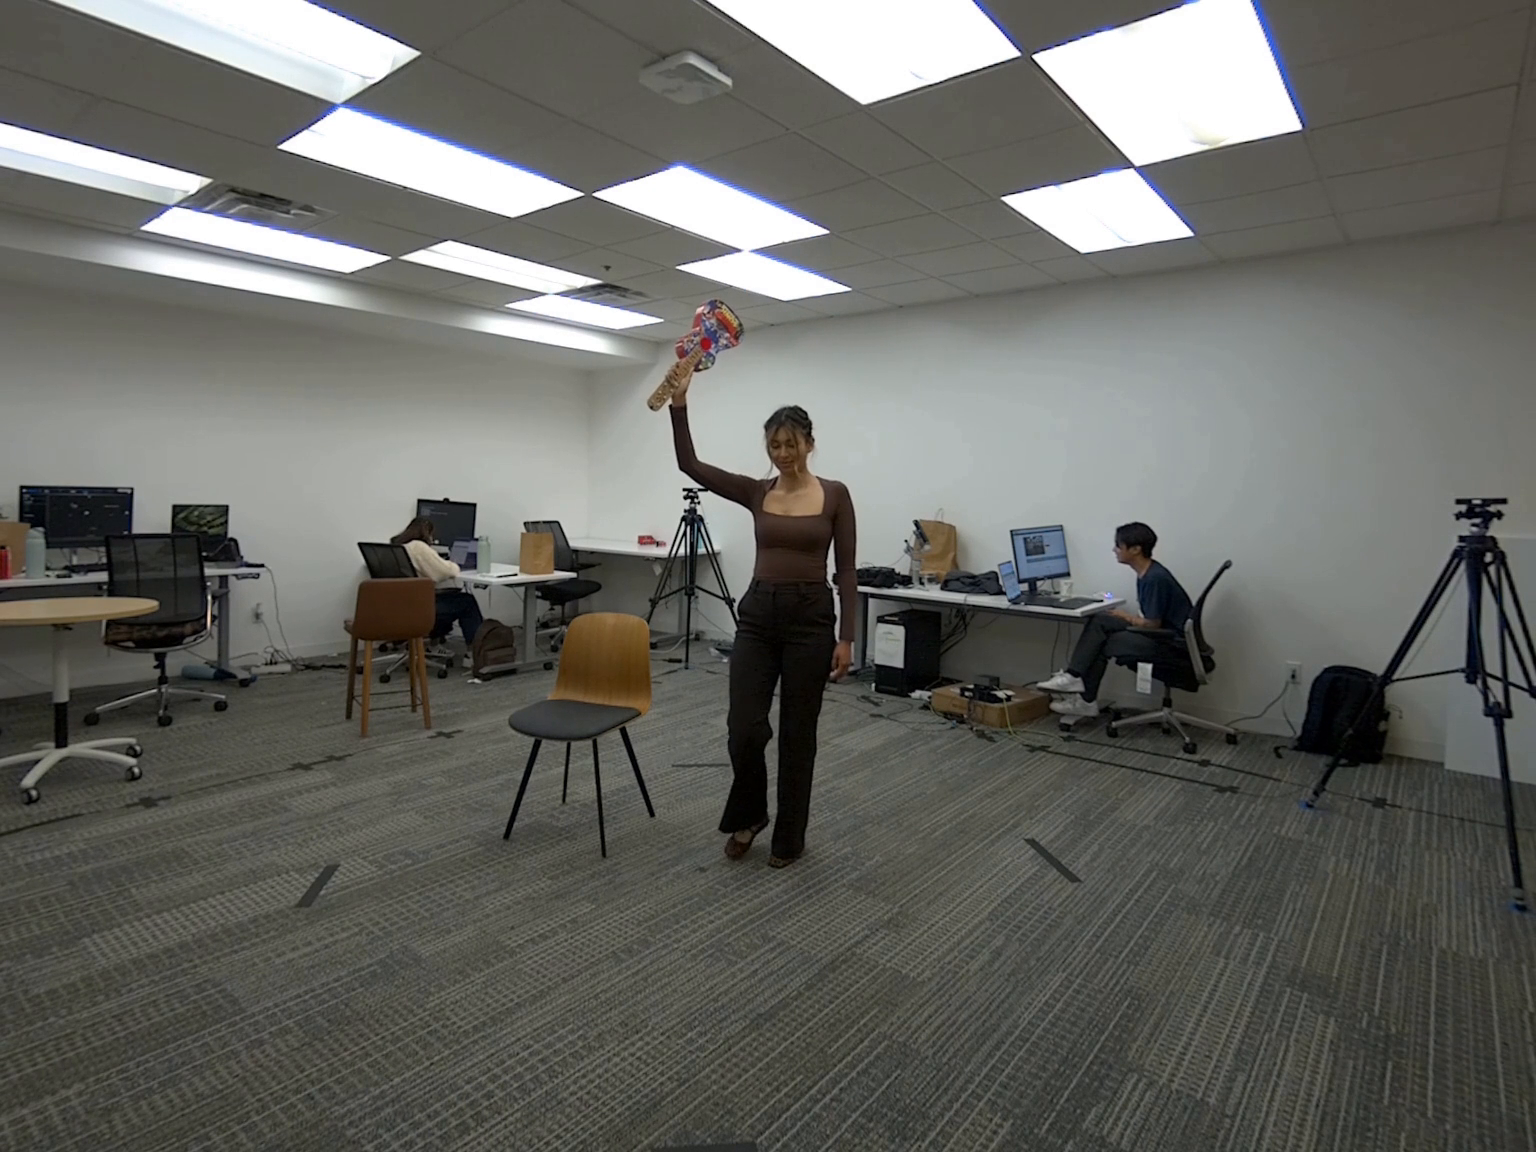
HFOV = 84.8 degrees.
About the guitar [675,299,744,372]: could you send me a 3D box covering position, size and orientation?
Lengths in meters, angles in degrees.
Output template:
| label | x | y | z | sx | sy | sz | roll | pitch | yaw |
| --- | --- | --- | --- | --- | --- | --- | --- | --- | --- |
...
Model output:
| label | x | y | z | sx | sy | sz | roll | pitch | yaw |
| --- | --- | --- | --- | --- | --- | --- | --- | --- | --- |
| guitar | -0.306 | -0.805 | 3.062 | 0.497 | 0.188 | 0.072 | -45 | 20 | -19 |
